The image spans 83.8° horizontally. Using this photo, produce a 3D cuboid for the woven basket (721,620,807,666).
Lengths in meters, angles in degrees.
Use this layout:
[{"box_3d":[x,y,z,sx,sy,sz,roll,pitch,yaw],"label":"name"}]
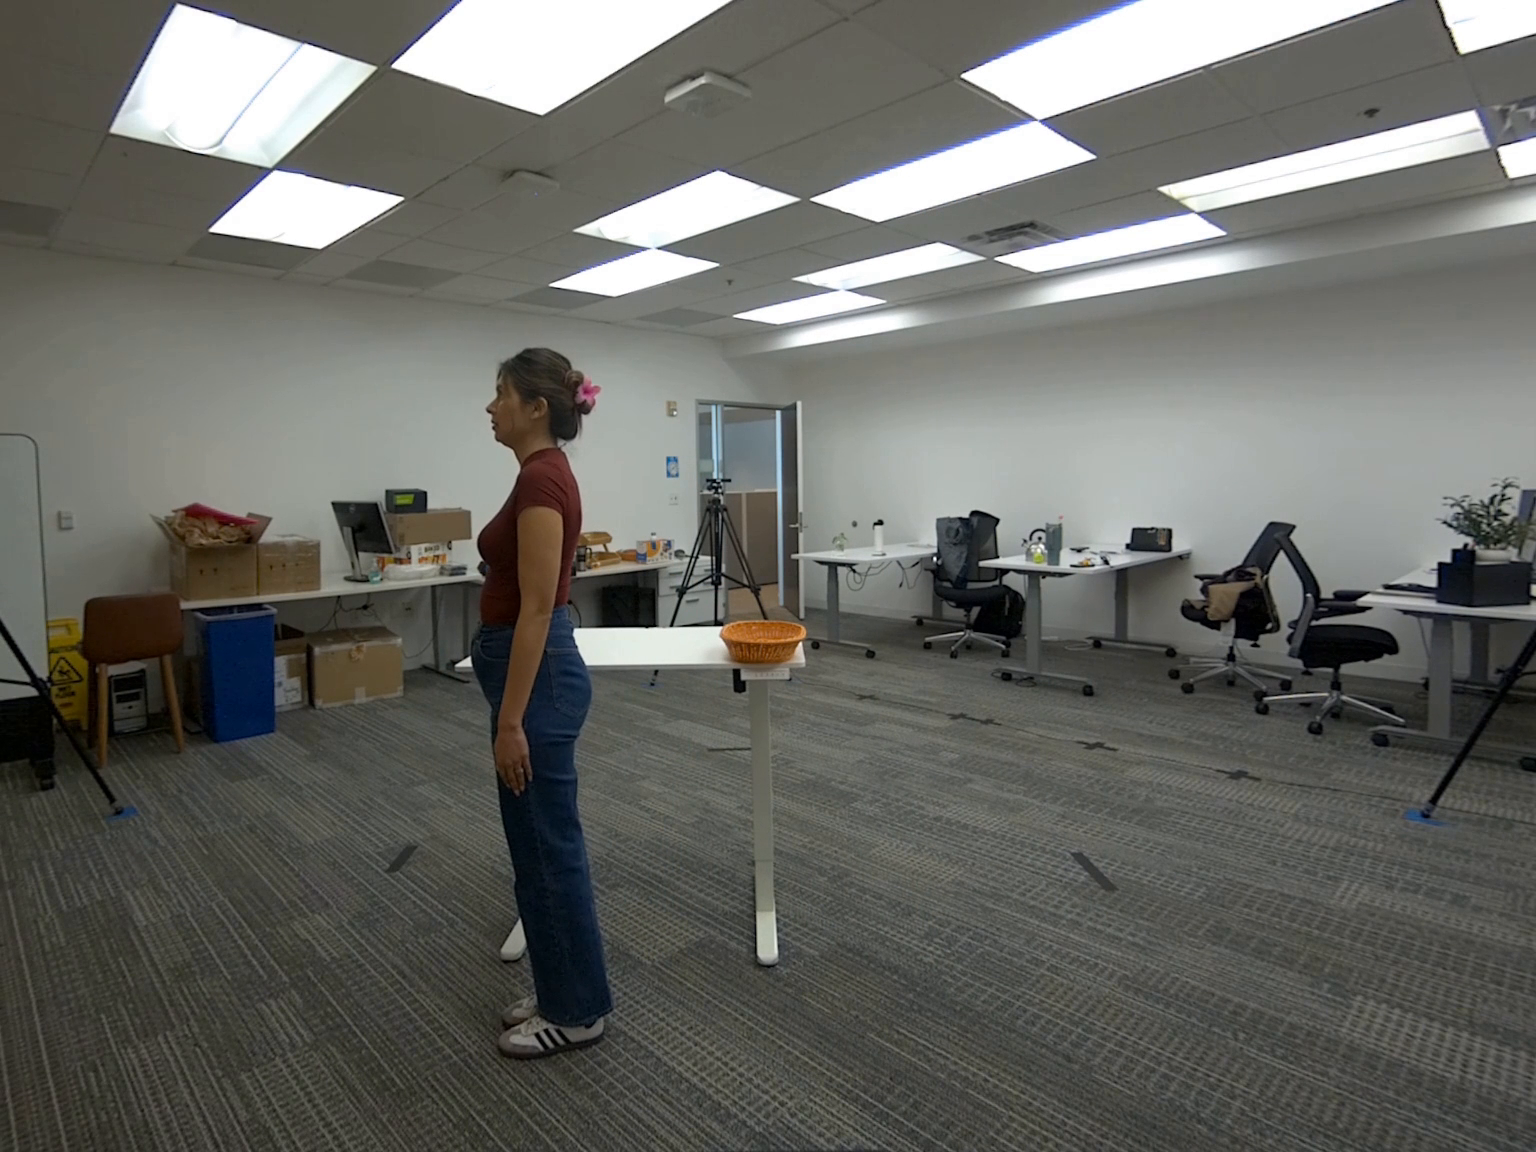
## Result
[{"box_3d":[-0.018,0.198,2.492,0.256,0.073,0.347,1,6,13],"label":"woven basket"}]
